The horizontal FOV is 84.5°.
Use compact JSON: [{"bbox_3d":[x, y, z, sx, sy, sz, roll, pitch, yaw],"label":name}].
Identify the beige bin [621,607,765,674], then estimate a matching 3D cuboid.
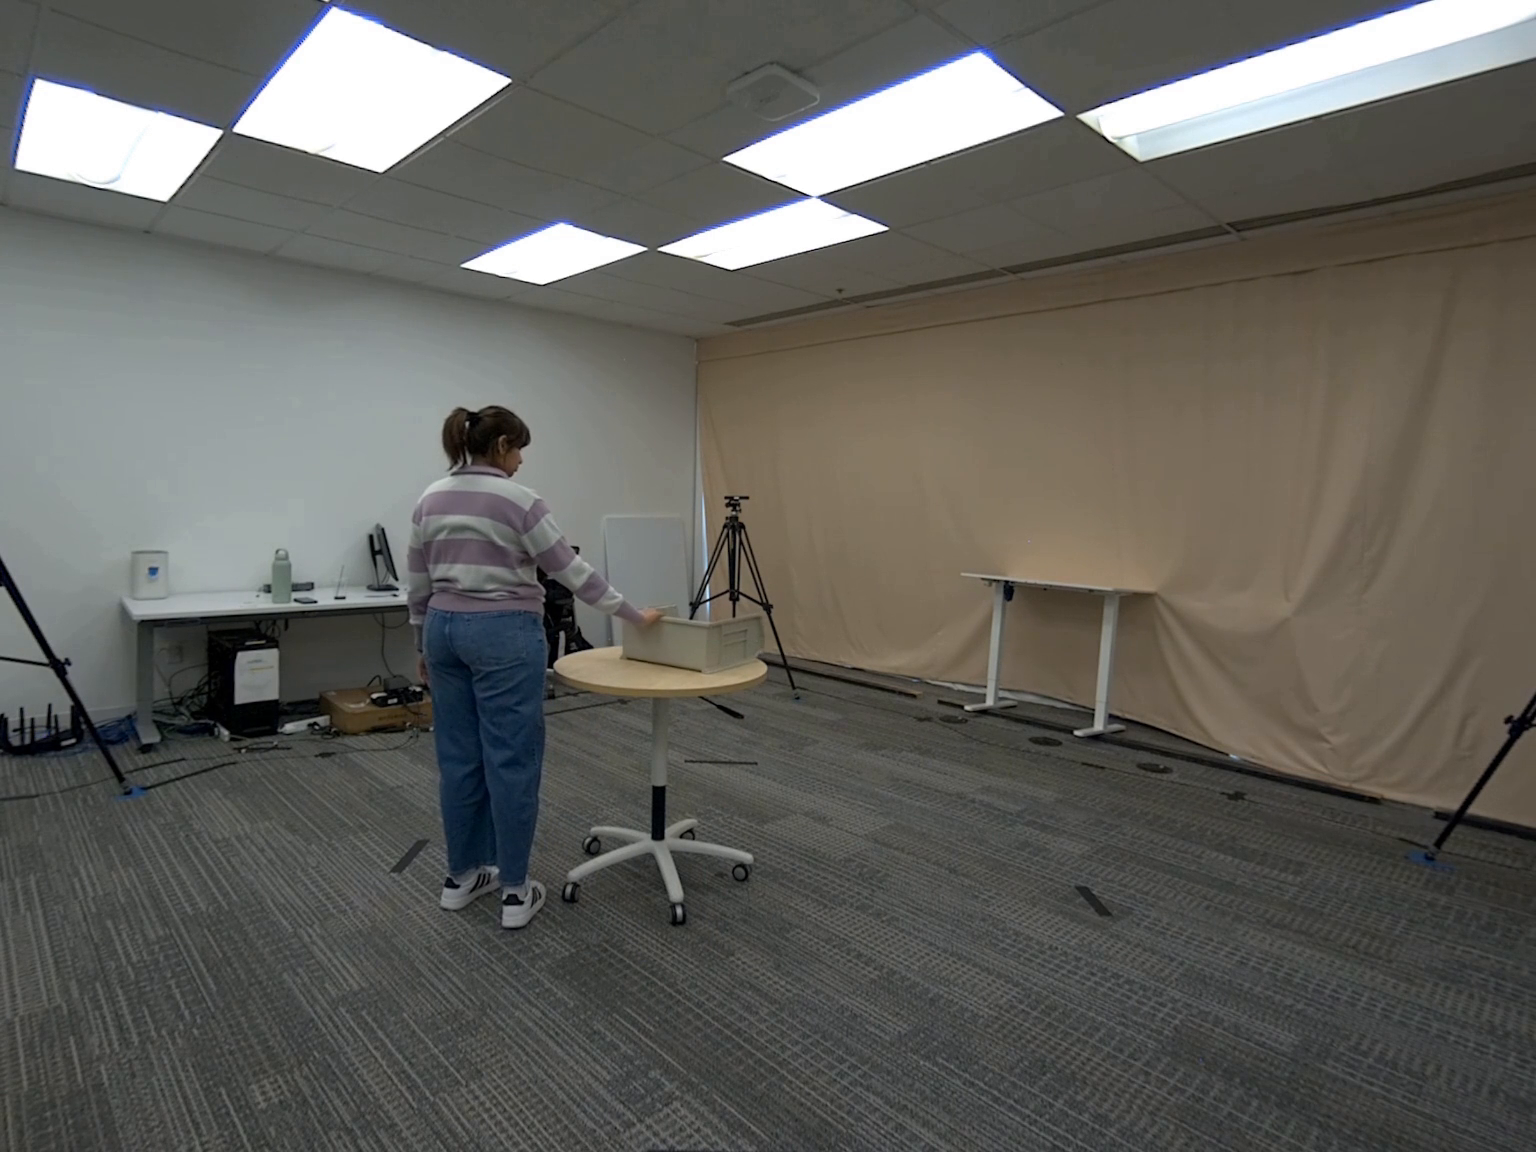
[{"bbox_3d":[-0.287,0.223,3.150,0.432,0.188,0.370,6,8,32],"label":"beige bin"}]
